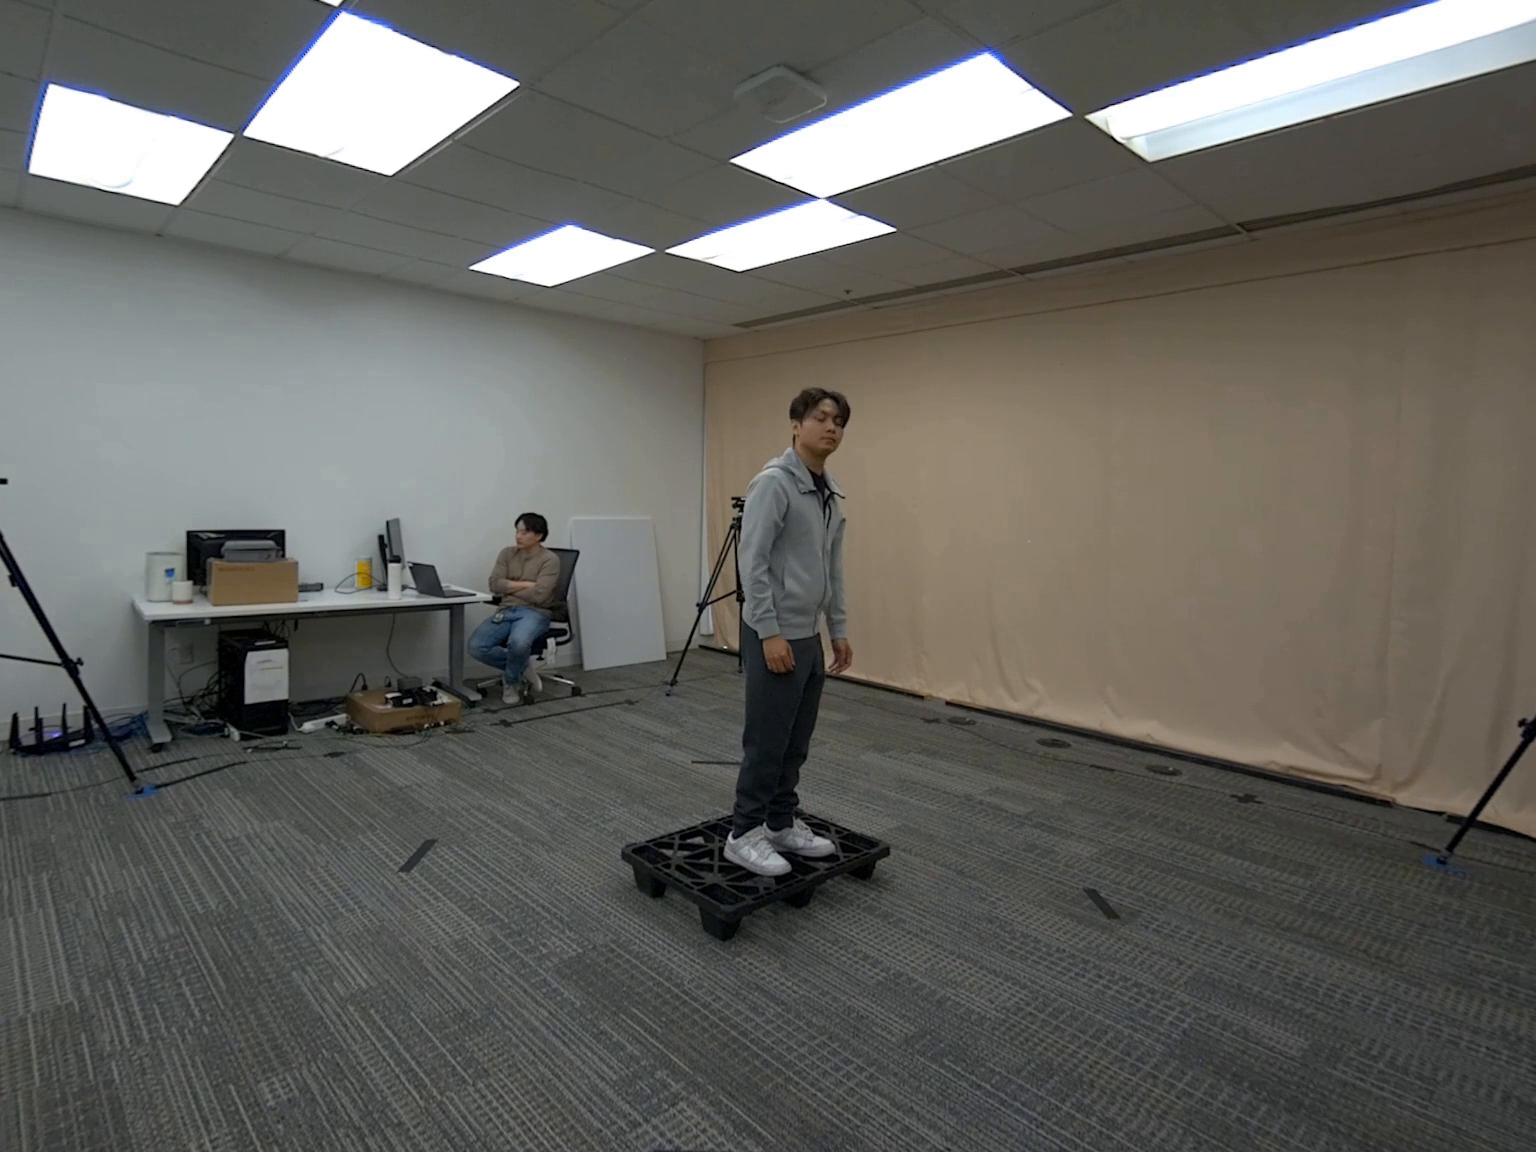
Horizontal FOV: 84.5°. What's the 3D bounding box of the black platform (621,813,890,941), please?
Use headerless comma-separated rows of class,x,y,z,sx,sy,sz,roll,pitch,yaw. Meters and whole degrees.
black platform,-0.050,1.048,3.050,0.787,0.143,0.620,-3,6,-42
